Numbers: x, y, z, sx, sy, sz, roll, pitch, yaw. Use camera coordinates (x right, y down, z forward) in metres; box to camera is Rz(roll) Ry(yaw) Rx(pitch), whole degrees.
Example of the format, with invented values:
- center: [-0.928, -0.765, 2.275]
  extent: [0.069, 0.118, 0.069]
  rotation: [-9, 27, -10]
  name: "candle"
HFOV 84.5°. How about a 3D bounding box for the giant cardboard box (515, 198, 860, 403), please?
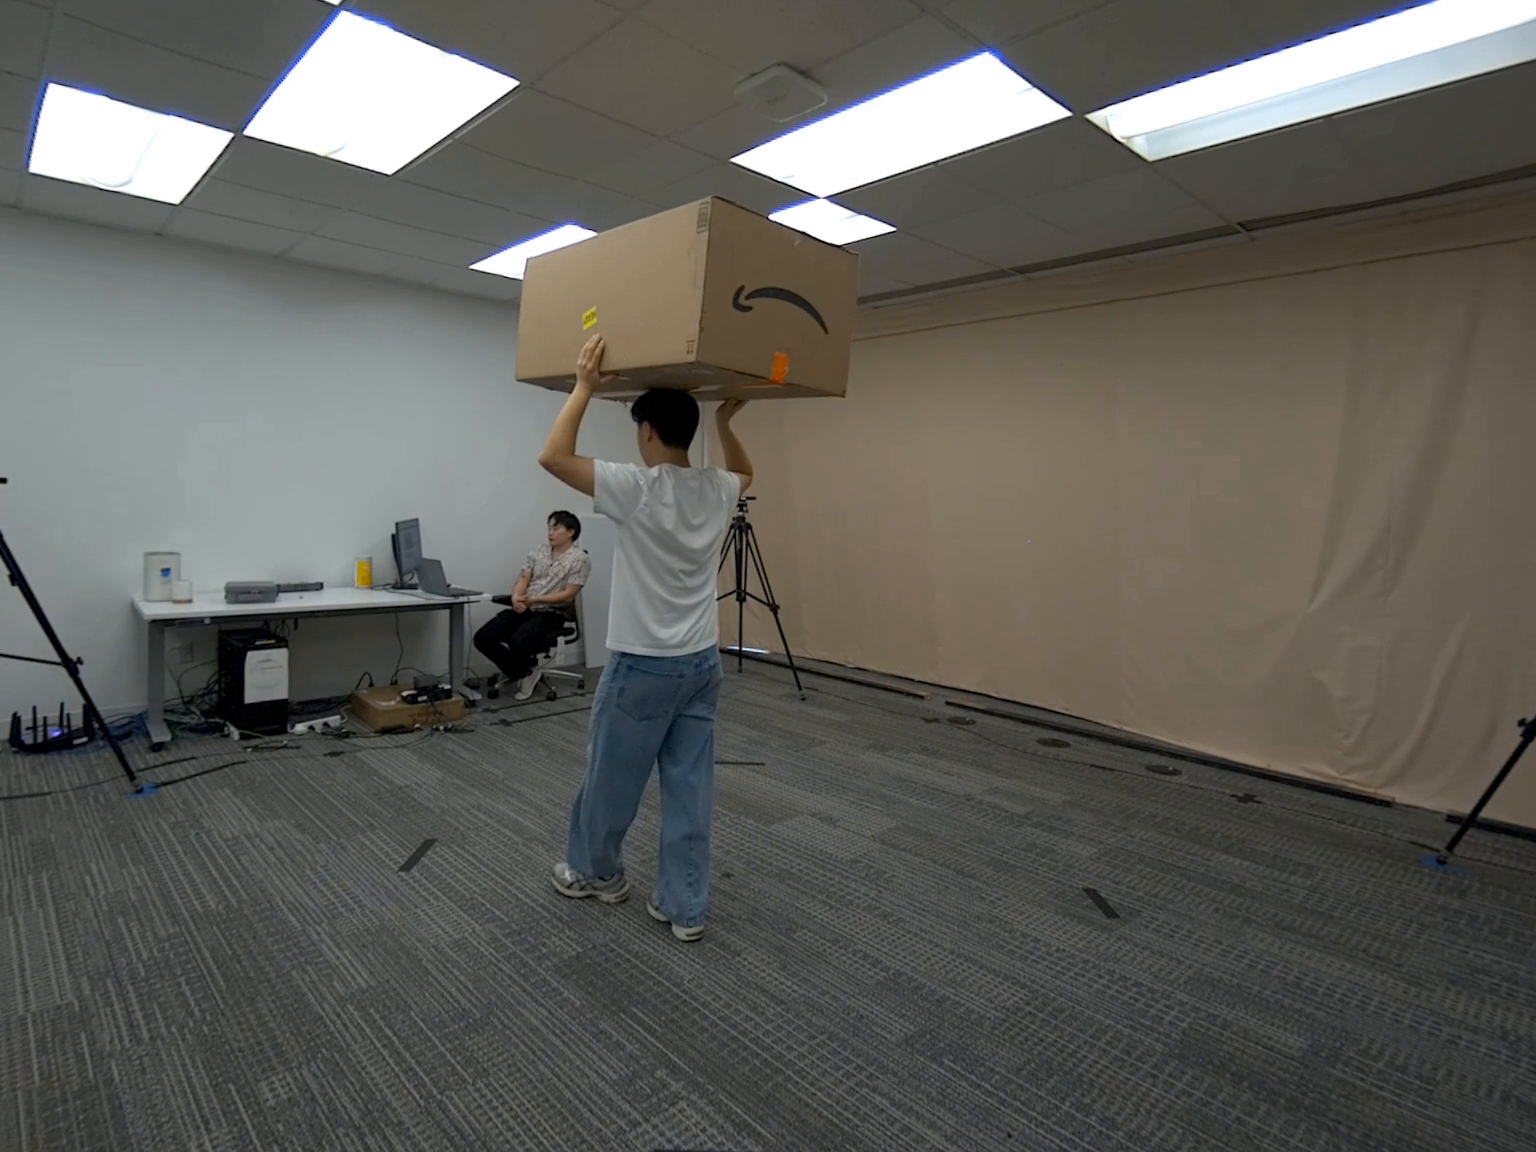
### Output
- center: [-0.304, -0.805, 2.696]
  extent: [0.563, 0.425, 1.054]
  rotation: [2, 6, -42]
  name: "giant cardboard box"
